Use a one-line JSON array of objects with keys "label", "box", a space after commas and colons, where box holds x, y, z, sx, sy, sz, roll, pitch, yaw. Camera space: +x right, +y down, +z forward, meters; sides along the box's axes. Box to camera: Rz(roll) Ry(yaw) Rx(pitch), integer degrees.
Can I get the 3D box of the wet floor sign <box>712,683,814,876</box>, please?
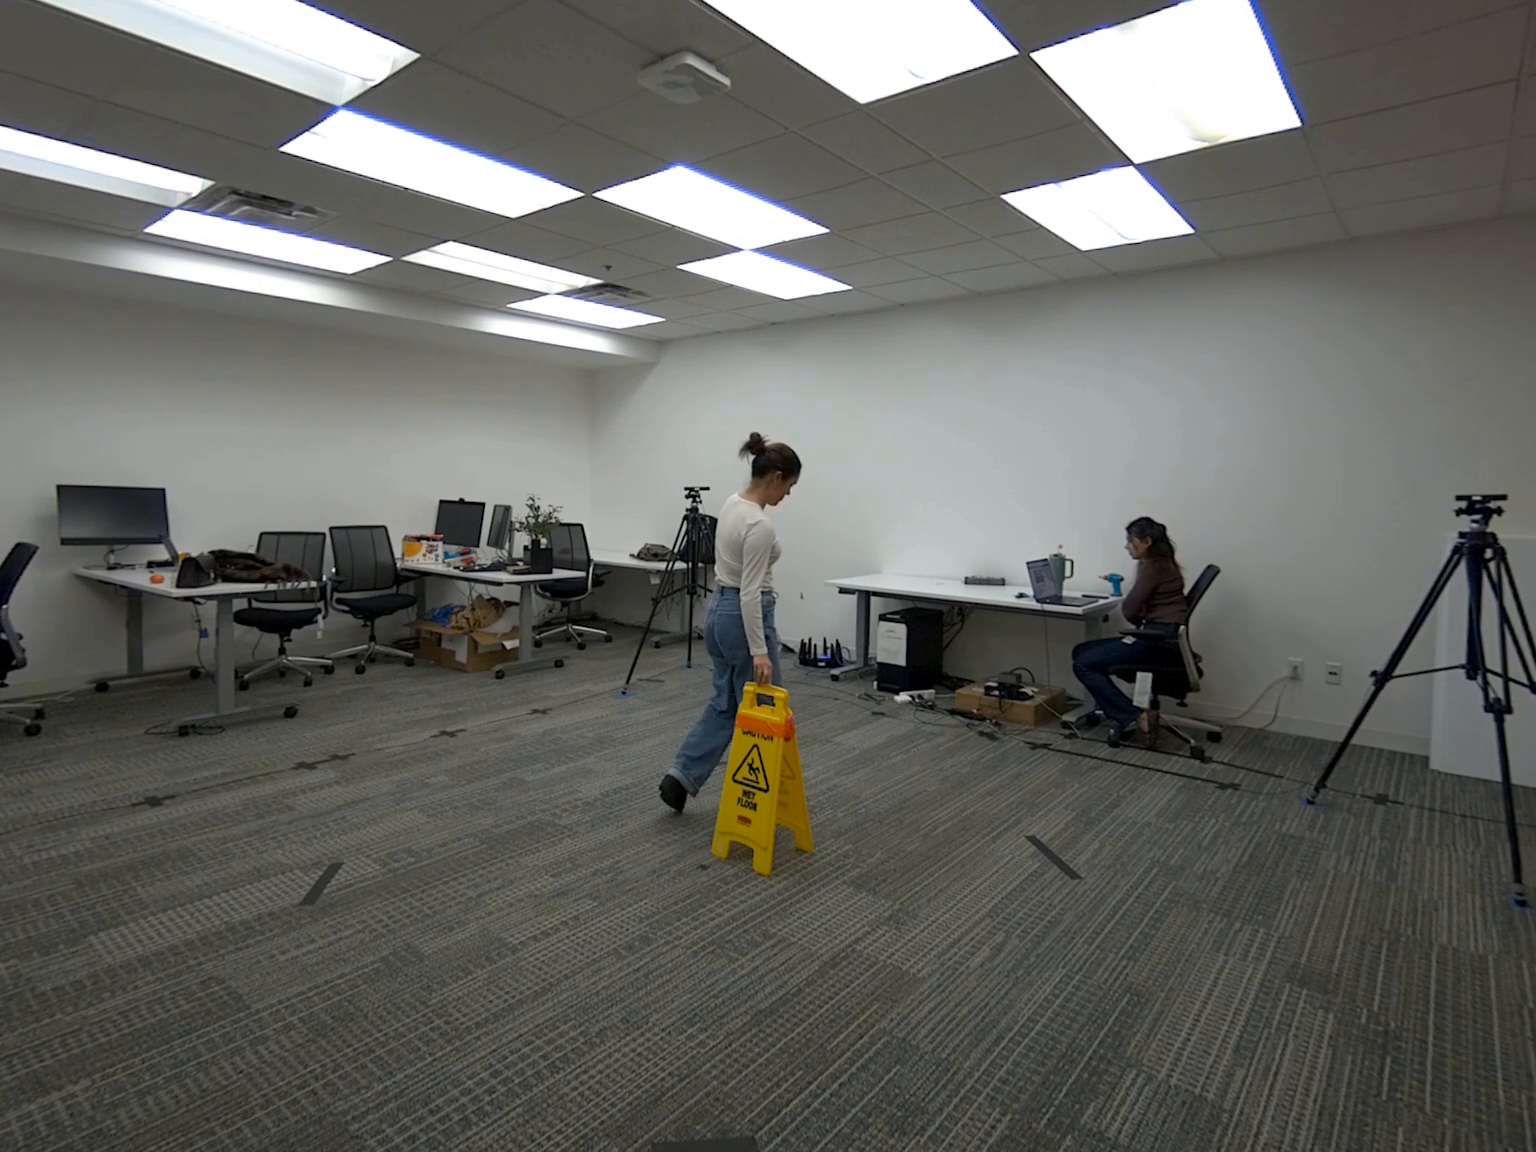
[{"label": "wet floor sign", "box": [-0.018, 0.731, 3.236, 0.292, 0.644, 0.281, 4, 4, 39]}]
